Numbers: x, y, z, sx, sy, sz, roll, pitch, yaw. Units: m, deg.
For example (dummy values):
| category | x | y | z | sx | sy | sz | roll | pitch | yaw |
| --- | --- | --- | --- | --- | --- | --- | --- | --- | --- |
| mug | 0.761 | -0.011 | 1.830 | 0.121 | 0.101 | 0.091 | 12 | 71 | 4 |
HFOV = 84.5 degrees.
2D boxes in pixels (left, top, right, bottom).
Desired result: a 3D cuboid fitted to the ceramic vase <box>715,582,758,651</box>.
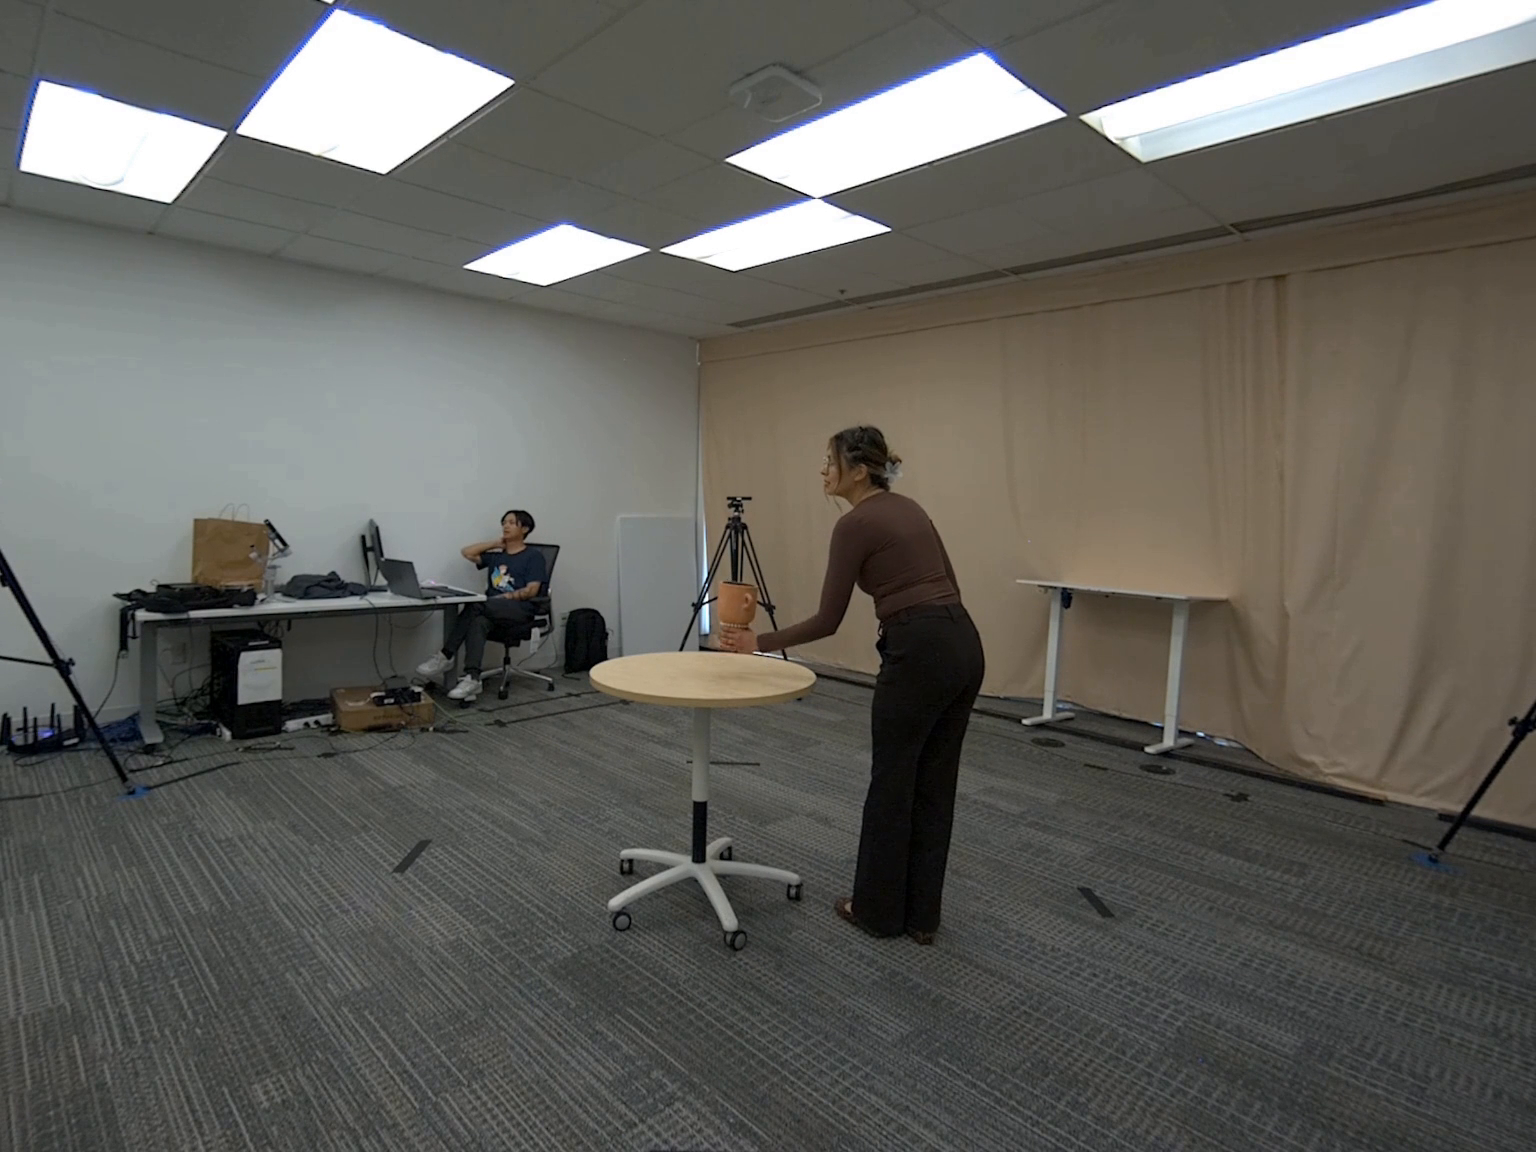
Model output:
| category | x | y | z | sx | sy | sz | roll | pitch | yaw |
| --- | --- | --- | --- | --- | --- | --- | --- | --- | --- |
| ceramic vase | -0.107 | 0.137 | 2.846 | 0.136 | 0.219 | 0.157 | 7 | 4 | 11 |
